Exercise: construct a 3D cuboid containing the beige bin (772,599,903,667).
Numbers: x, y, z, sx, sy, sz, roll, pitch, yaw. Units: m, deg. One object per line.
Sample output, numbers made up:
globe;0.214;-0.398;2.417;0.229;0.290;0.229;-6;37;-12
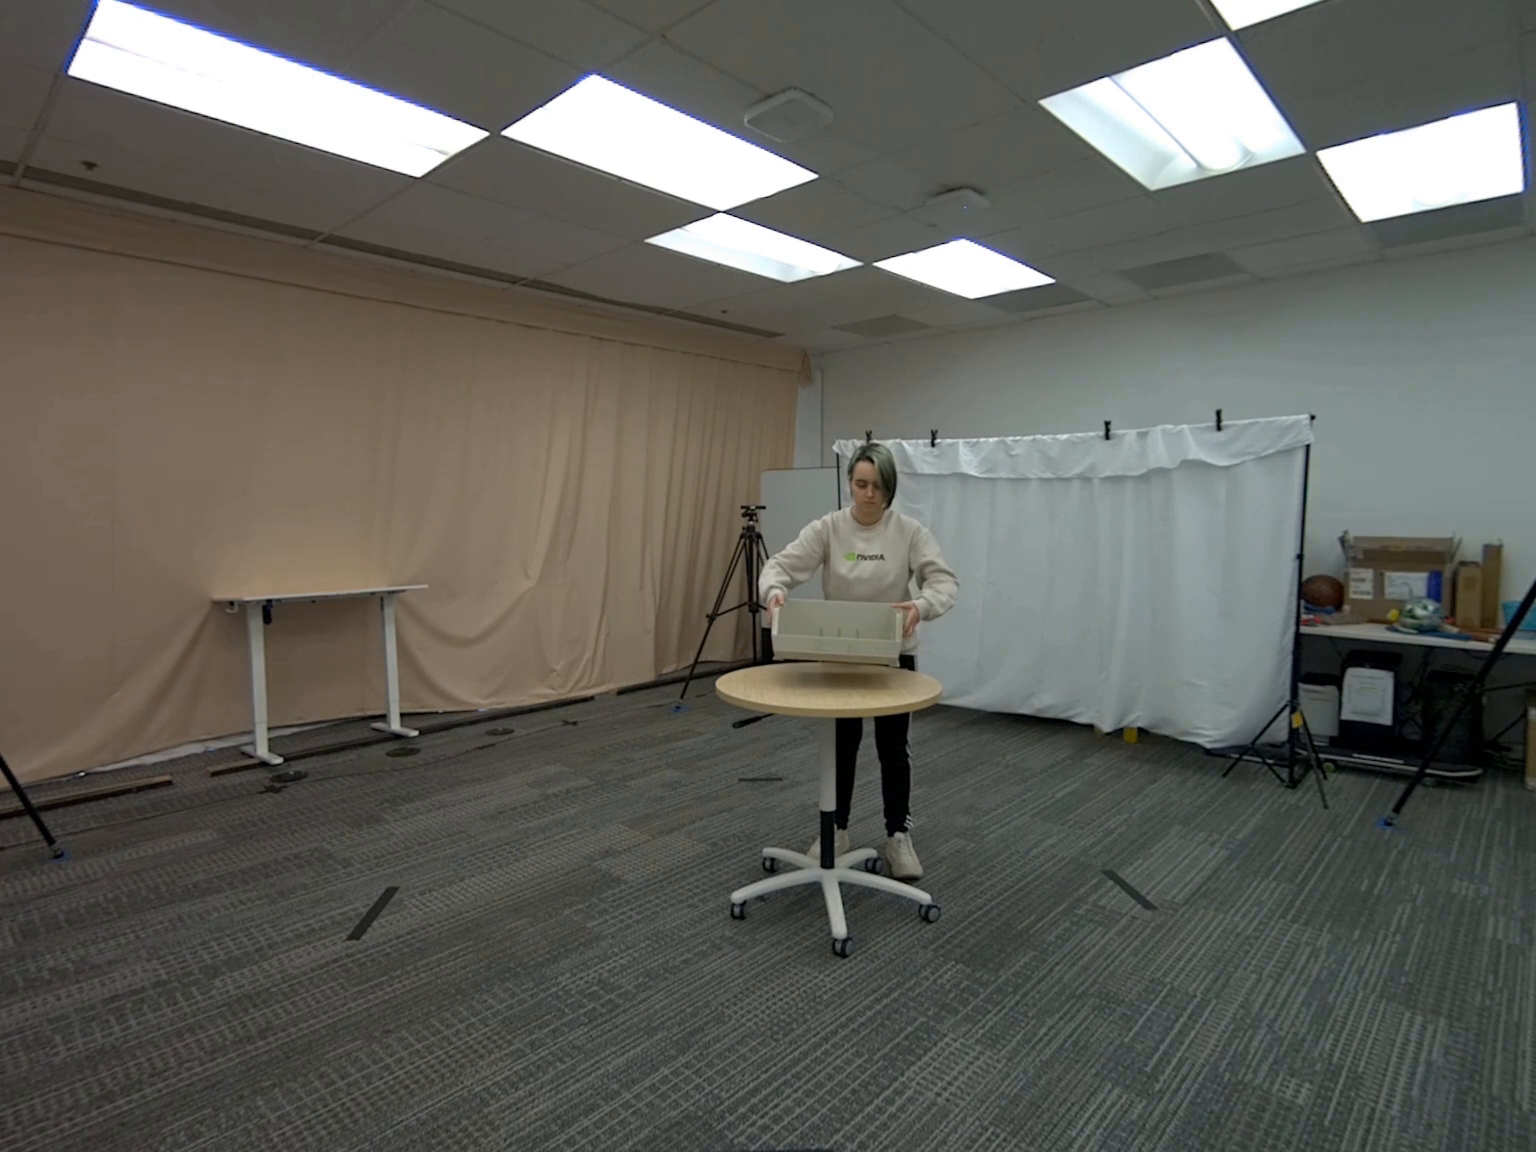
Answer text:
beige bin;0.239;0.192;2.894;0.427;0.189;0.374;1;1;8
